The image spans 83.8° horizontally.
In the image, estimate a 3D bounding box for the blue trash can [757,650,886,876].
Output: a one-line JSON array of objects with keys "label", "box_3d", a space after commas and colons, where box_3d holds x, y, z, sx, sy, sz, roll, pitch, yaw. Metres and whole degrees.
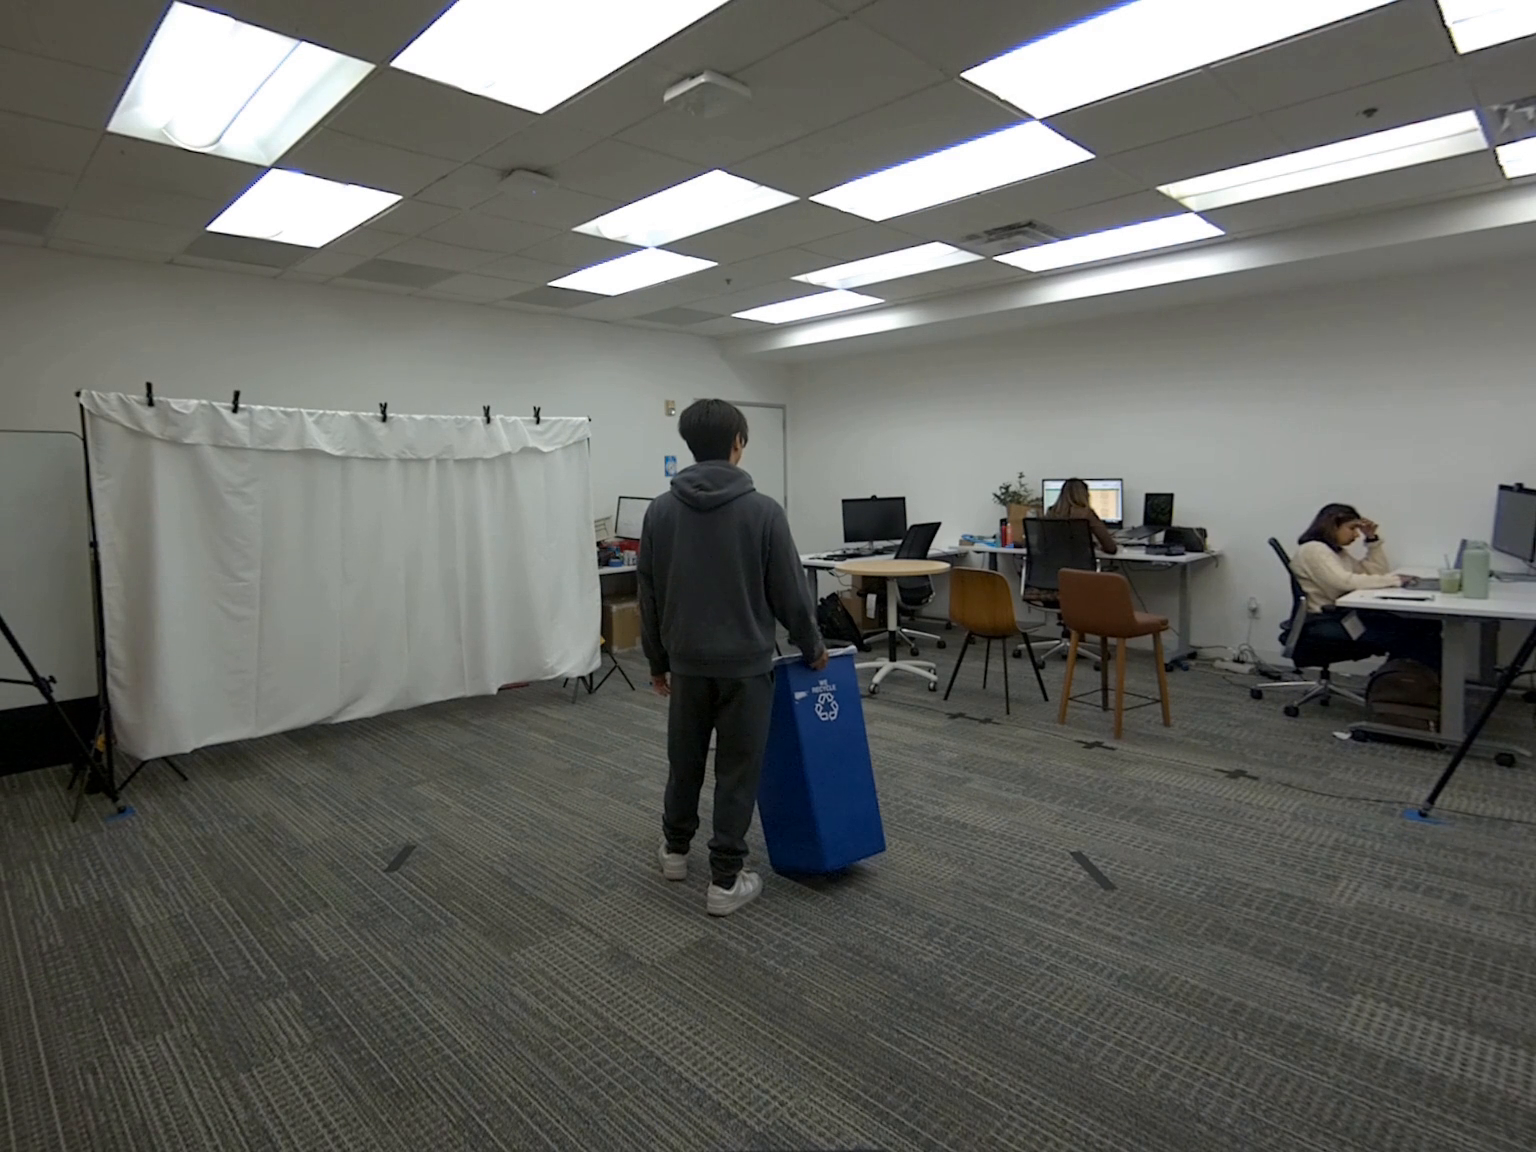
[{"label": "blue trash can", "box_3d": [0.155, 0.654, 3.092, 0.364, 0.722, 0.384, -2, -14, -38]}]
